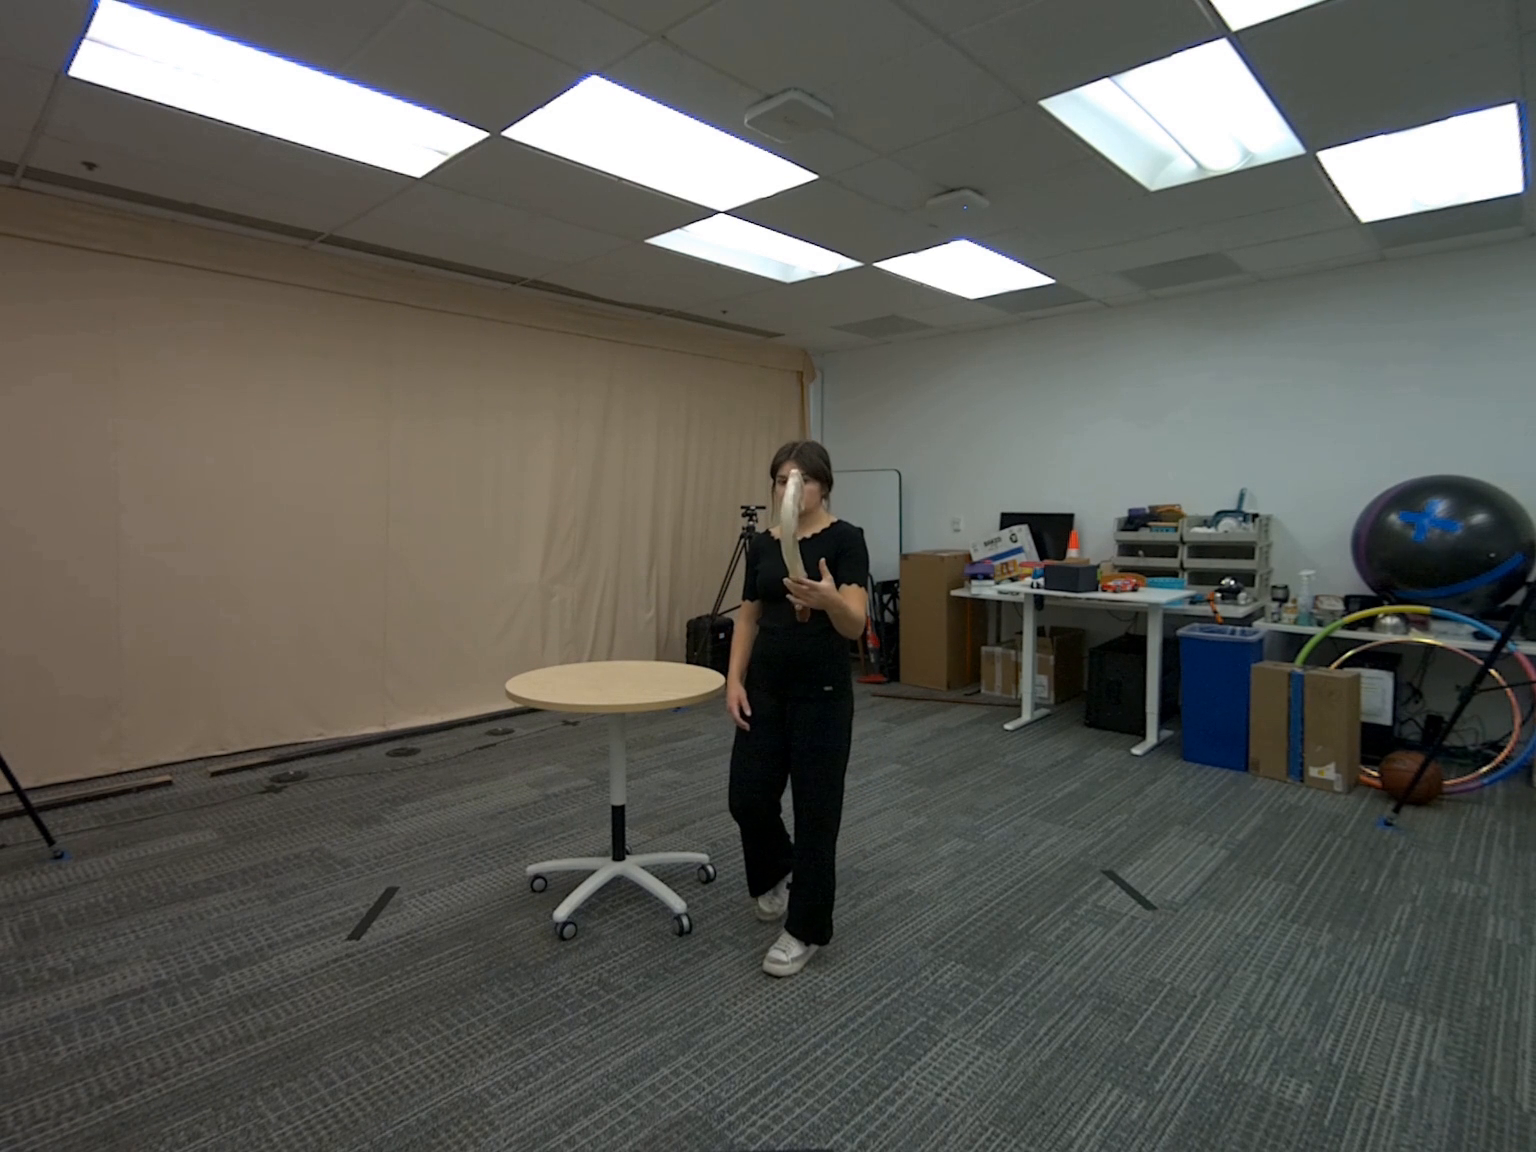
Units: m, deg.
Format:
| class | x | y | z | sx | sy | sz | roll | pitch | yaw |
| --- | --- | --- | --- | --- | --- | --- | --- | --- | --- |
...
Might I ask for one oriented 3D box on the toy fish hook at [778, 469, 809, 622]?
| class | x | y | z | sx | sy | sz | roll | pitch | yaw |
| --- | --- | --- | --- | --- | --- | --- | --- | --- | --- |
| toy fish hook | 0.083 | -0.022 | 2.145 | 0.049 | 0.226 | 0.495 | 8 | -34 | 12 |
